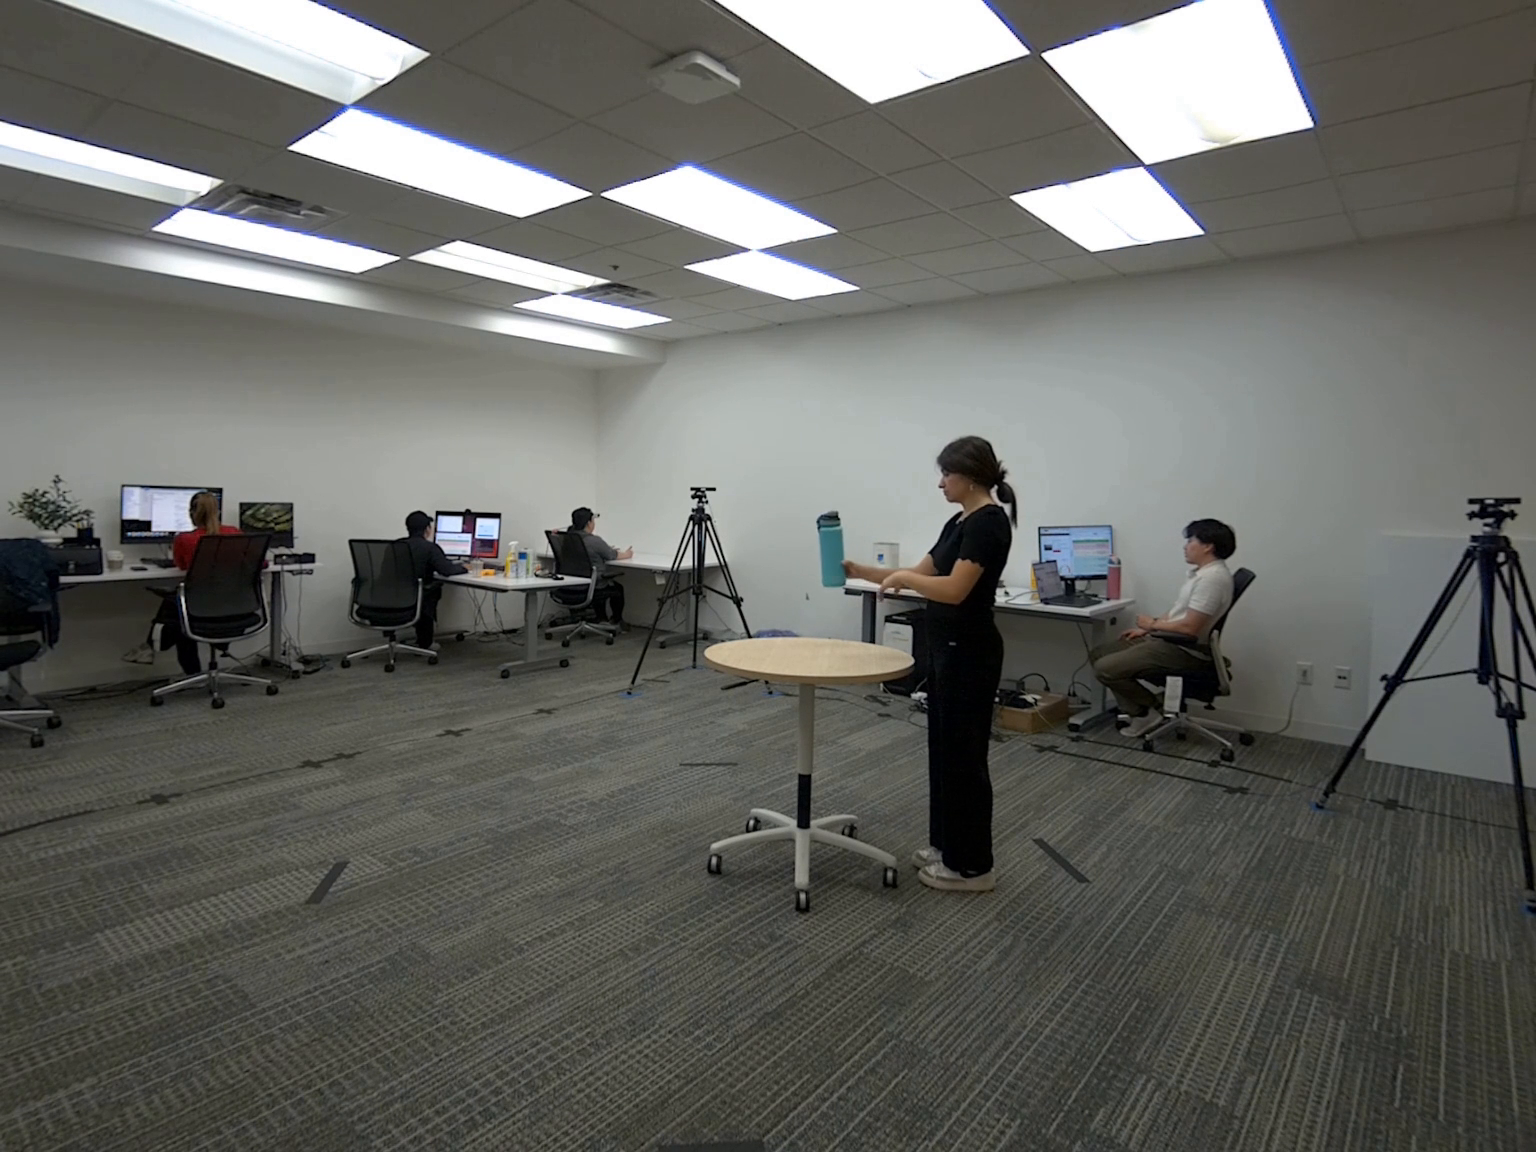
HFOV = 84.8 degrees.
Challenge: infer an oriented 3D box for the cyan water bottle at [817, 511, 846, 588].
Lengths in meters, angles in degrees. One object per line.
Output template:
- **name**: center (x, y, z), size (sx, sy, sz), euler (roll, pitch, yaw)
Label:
- **cyan water bottle**: center (0.236, -0.105, 3.217), size (0.092, 0.281, 0.093), euler (-5, 8, -1)
